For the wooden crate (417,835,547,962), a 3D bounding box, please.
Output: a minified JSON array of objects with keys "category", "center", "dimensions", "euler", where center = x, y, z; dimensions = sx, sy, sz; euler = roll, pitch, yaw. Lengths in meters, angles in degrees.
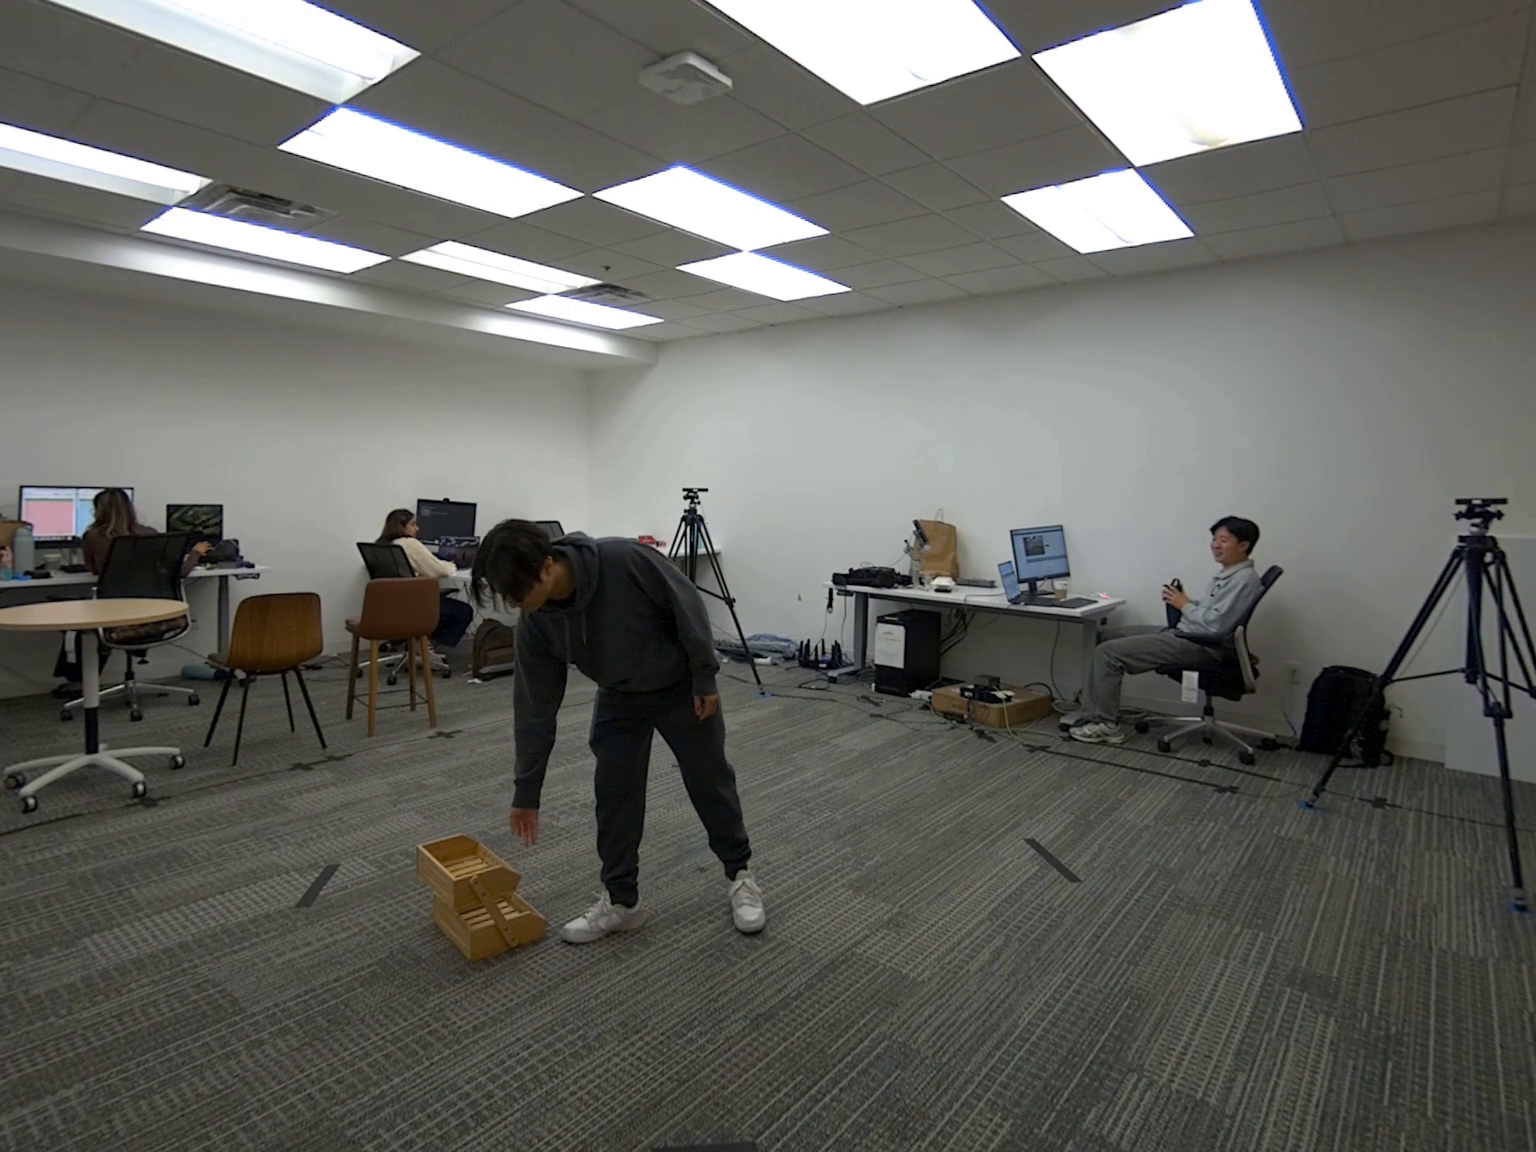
[{"category":"wooden crate","center":[-0.896,0.968,2.647],"dimensions":[0.293,0.272,0.335],"euler":[-3,6,-41]}]
